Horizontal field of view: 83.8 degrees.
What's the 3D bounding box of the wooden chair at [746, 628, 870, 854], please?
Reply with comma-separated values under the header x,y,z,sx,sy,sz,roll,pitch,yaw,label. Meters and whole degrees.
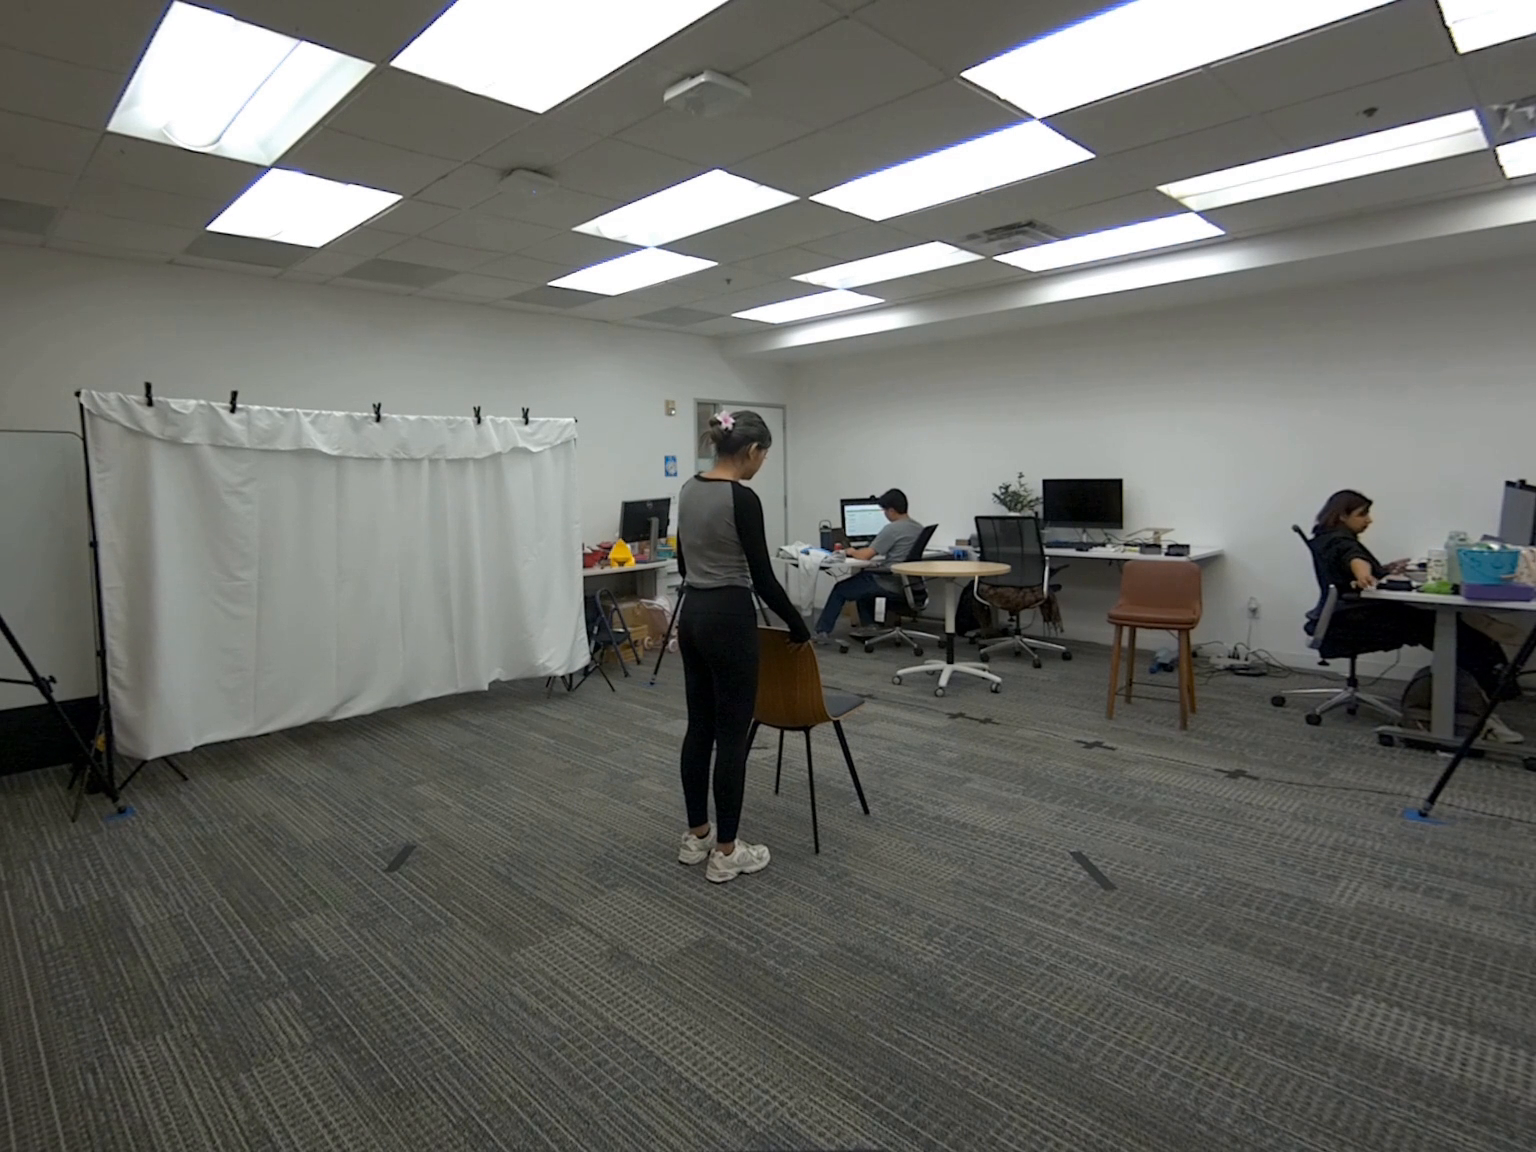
x,y,z,sx,sy,sz,roll,pitch,yaw,label
0.107,0.571,3.454,0.491,0.871,0.513,2,10,33,wooden chair
